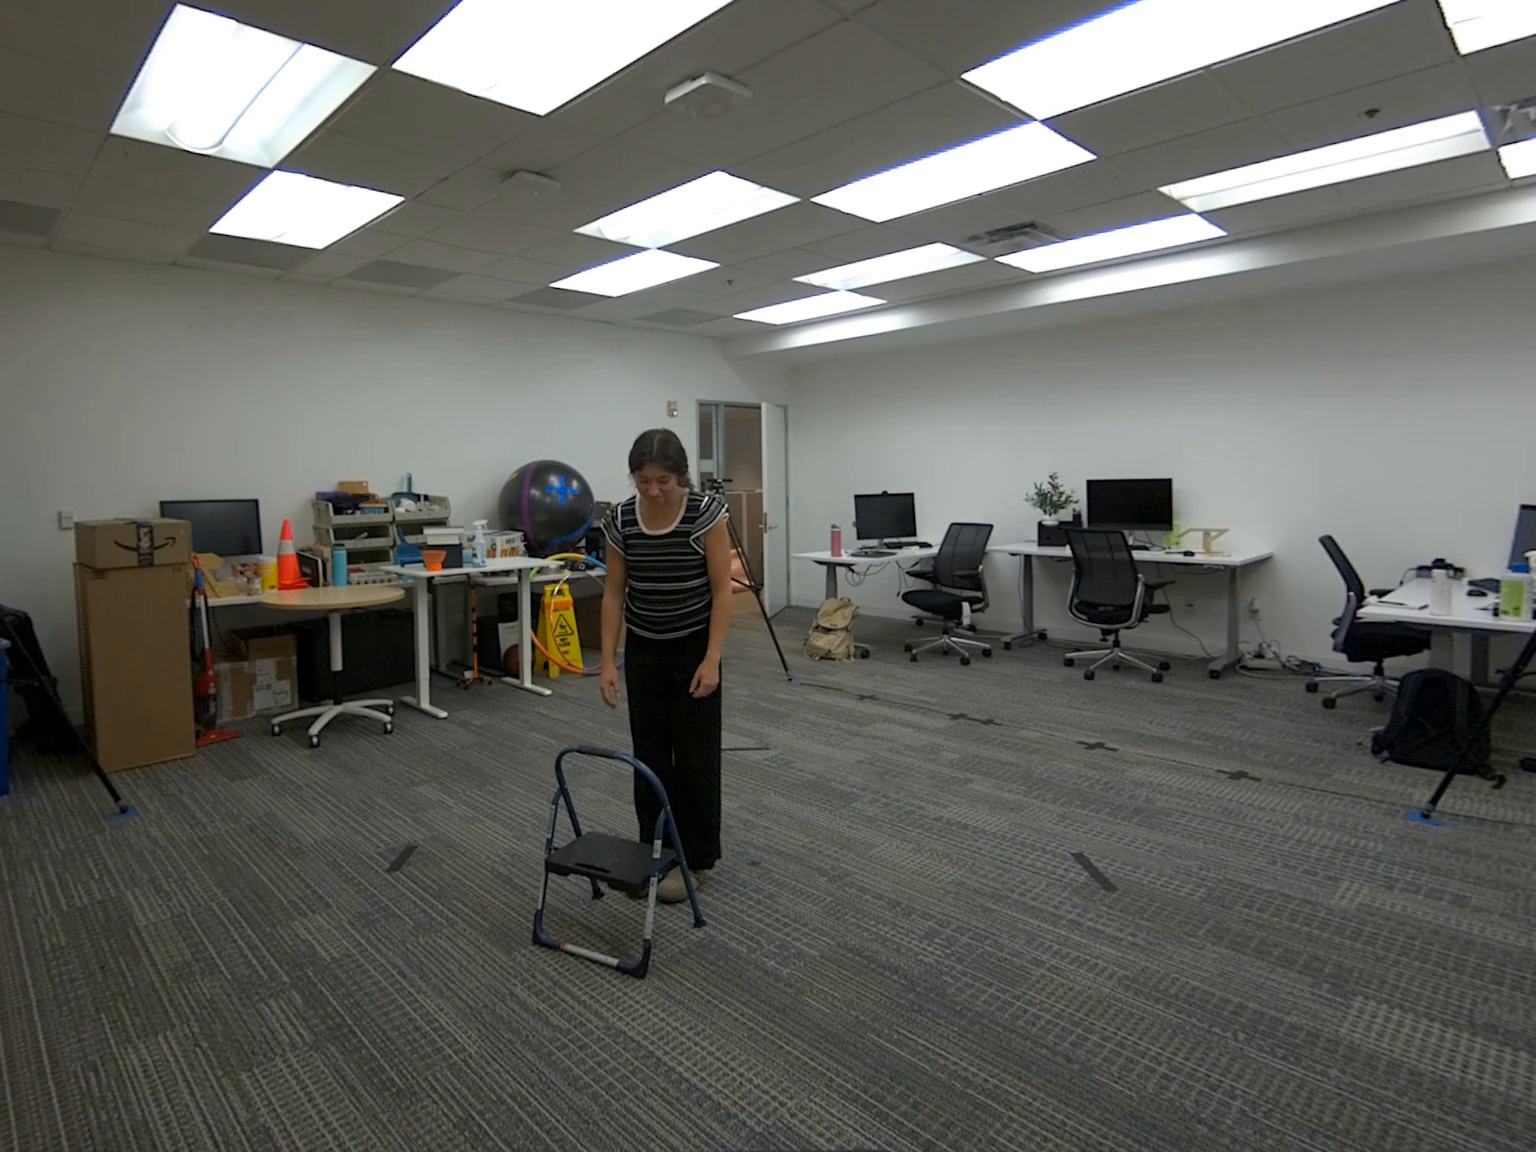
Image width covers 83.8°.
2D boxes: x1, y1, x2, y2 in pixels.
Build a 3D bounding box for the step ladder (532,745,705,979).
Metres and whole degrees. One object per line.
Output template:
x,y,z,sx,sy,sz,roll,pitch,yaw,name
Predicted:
-0.466,0.810,2.624,0.441,0.603,0.342,1,5,28,step ladder
